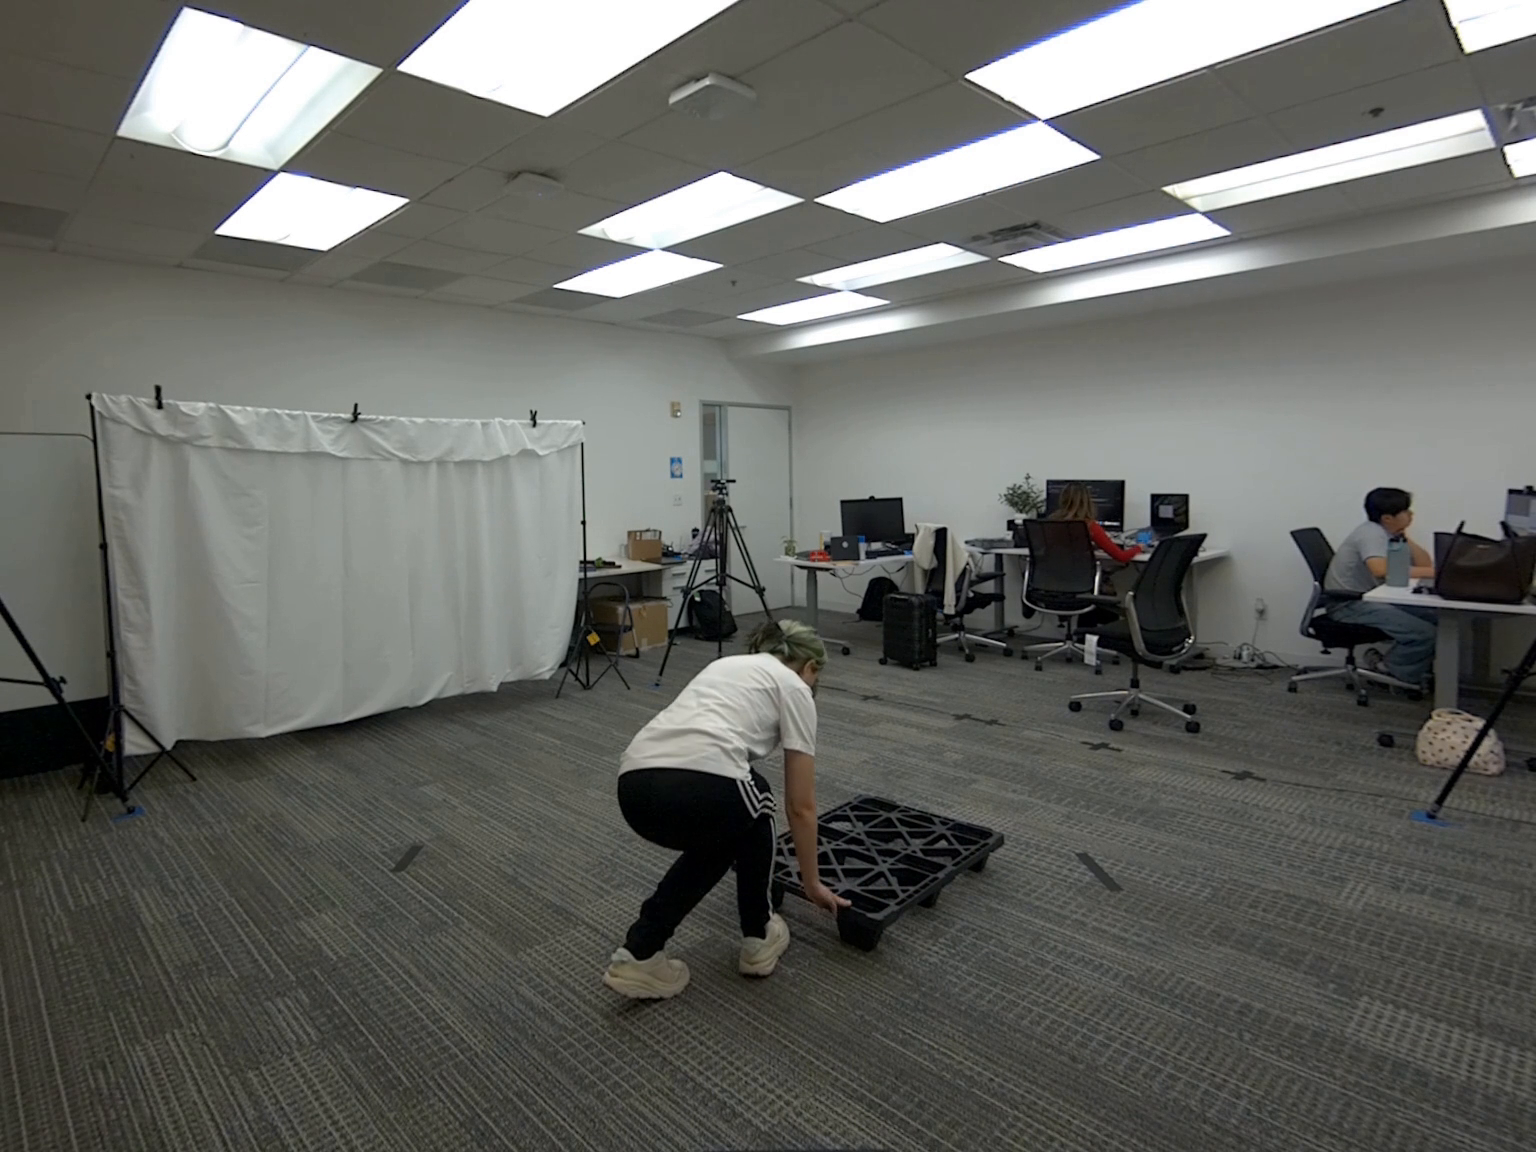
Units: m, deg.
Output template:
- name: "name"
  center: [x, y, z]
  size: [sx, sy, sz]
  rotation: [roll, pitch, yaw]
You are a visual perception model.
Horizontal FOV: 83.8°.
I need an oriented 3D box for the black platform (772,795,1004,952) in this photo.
- name: "black platform"
  center: [0.351, 0.993, 2.935]
  size: [0.623, 0.143, 0.785]
  rotation: [4, 8, 42]
